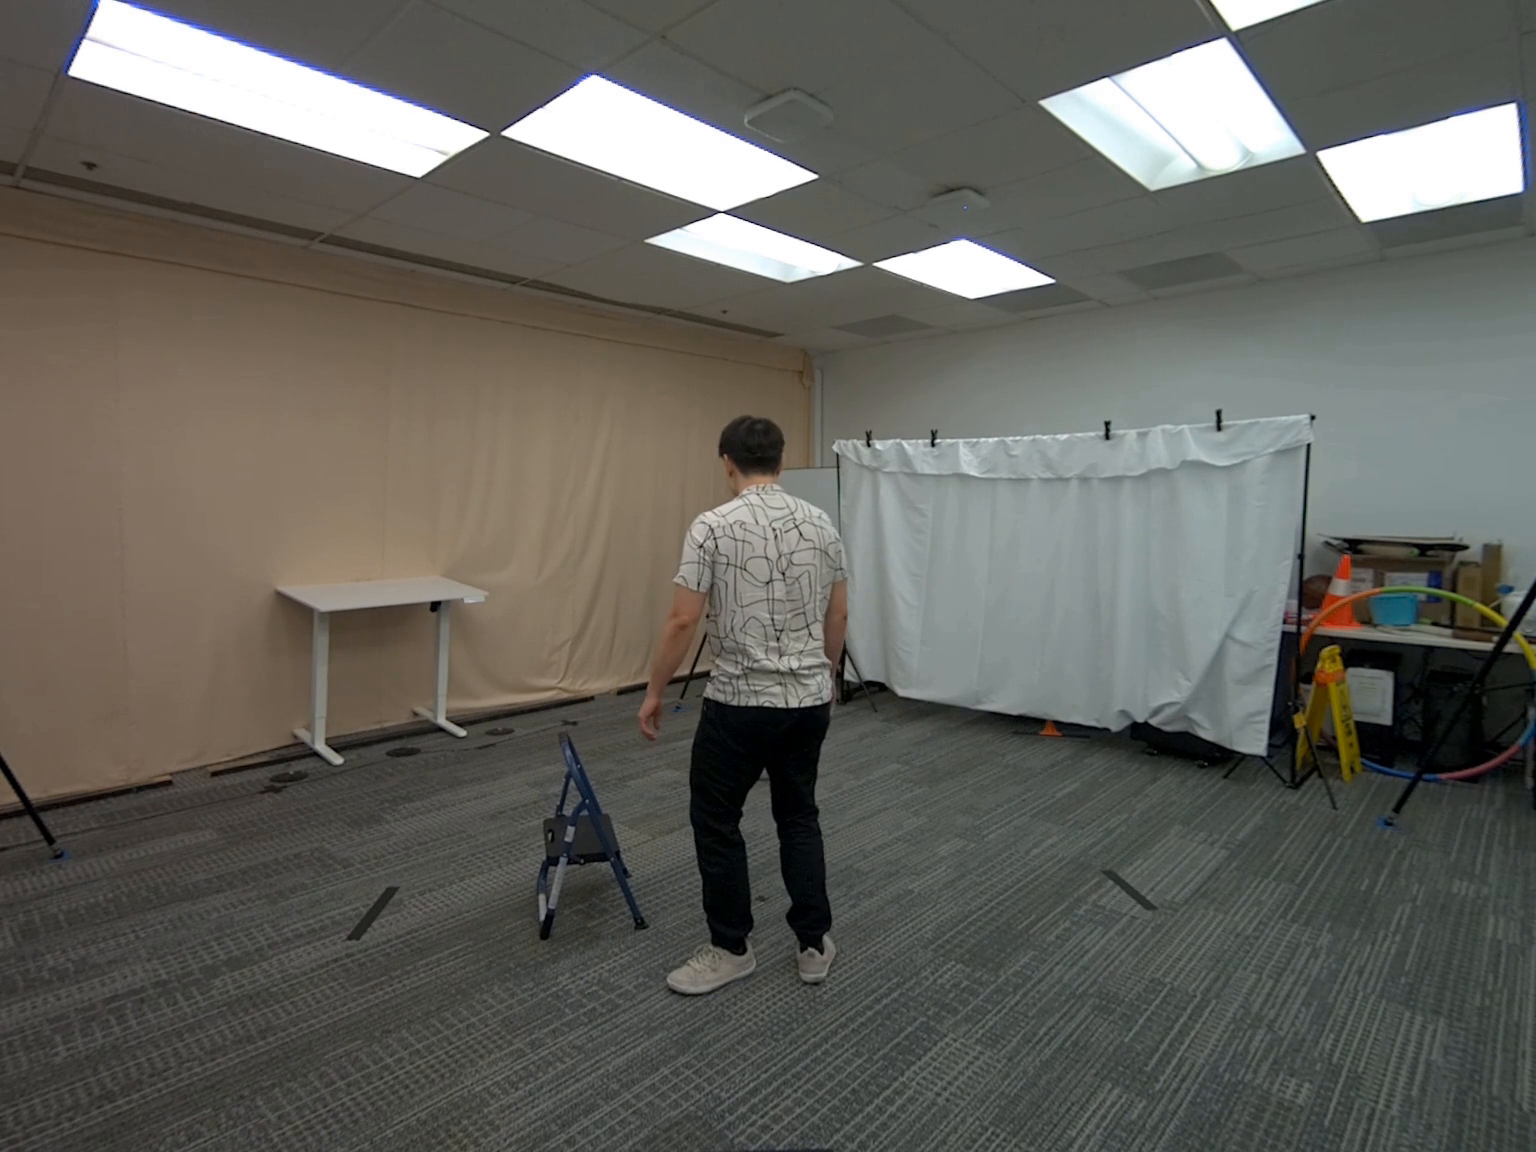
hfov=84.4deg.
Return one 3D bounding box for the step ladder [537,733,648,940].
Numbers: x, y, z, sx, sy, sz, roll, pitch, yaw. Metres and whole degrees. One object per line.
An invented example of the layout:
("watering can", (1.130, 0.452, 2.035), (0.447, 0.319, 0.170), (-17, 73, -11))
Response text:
("step ladder", (-0.627, 0.849, 2.925), (0.343, 0.605, 0.439), (-1, 3, -17))
